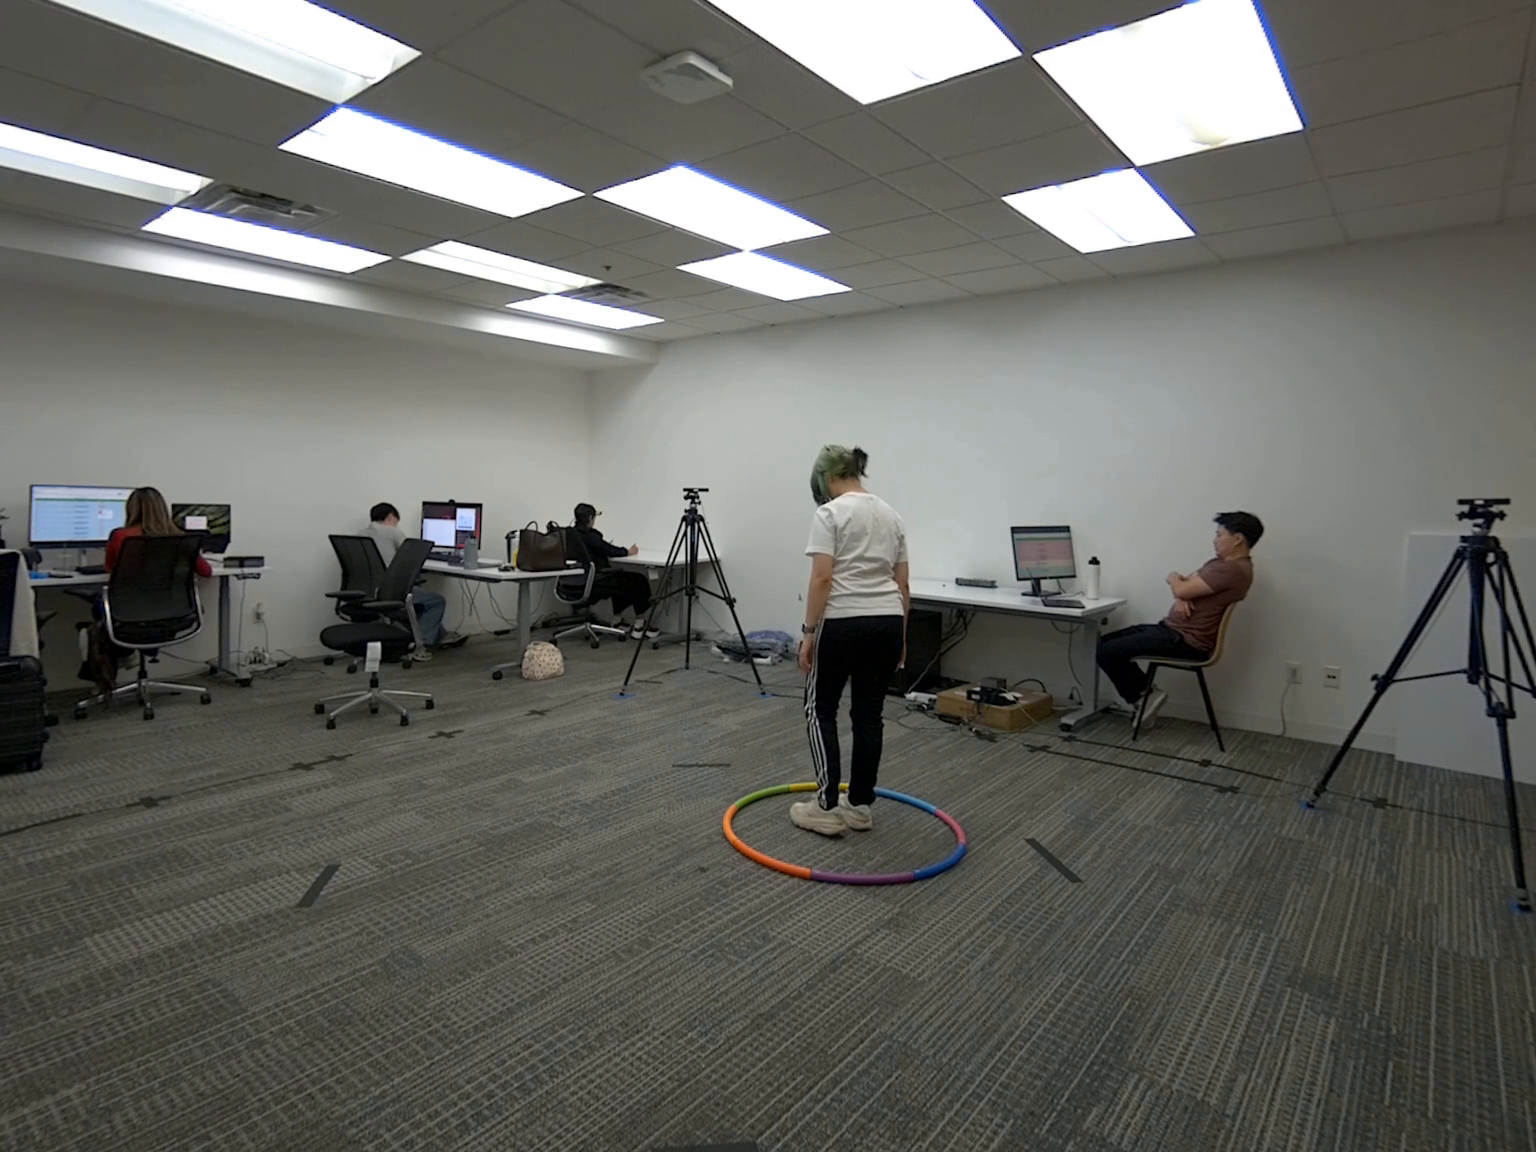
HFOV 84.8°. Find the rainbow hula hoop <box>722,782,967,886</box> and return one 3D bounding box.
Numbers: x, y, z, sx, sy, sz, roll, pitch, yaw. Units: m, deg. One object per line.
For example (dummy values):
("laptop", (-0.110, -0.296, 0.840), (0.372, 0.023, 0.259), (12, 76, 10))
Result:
("rainbow hula hoop", (0.296, 1.017, 3.490), (0.984, 0.051, 0.991), (1, 6, -2))
